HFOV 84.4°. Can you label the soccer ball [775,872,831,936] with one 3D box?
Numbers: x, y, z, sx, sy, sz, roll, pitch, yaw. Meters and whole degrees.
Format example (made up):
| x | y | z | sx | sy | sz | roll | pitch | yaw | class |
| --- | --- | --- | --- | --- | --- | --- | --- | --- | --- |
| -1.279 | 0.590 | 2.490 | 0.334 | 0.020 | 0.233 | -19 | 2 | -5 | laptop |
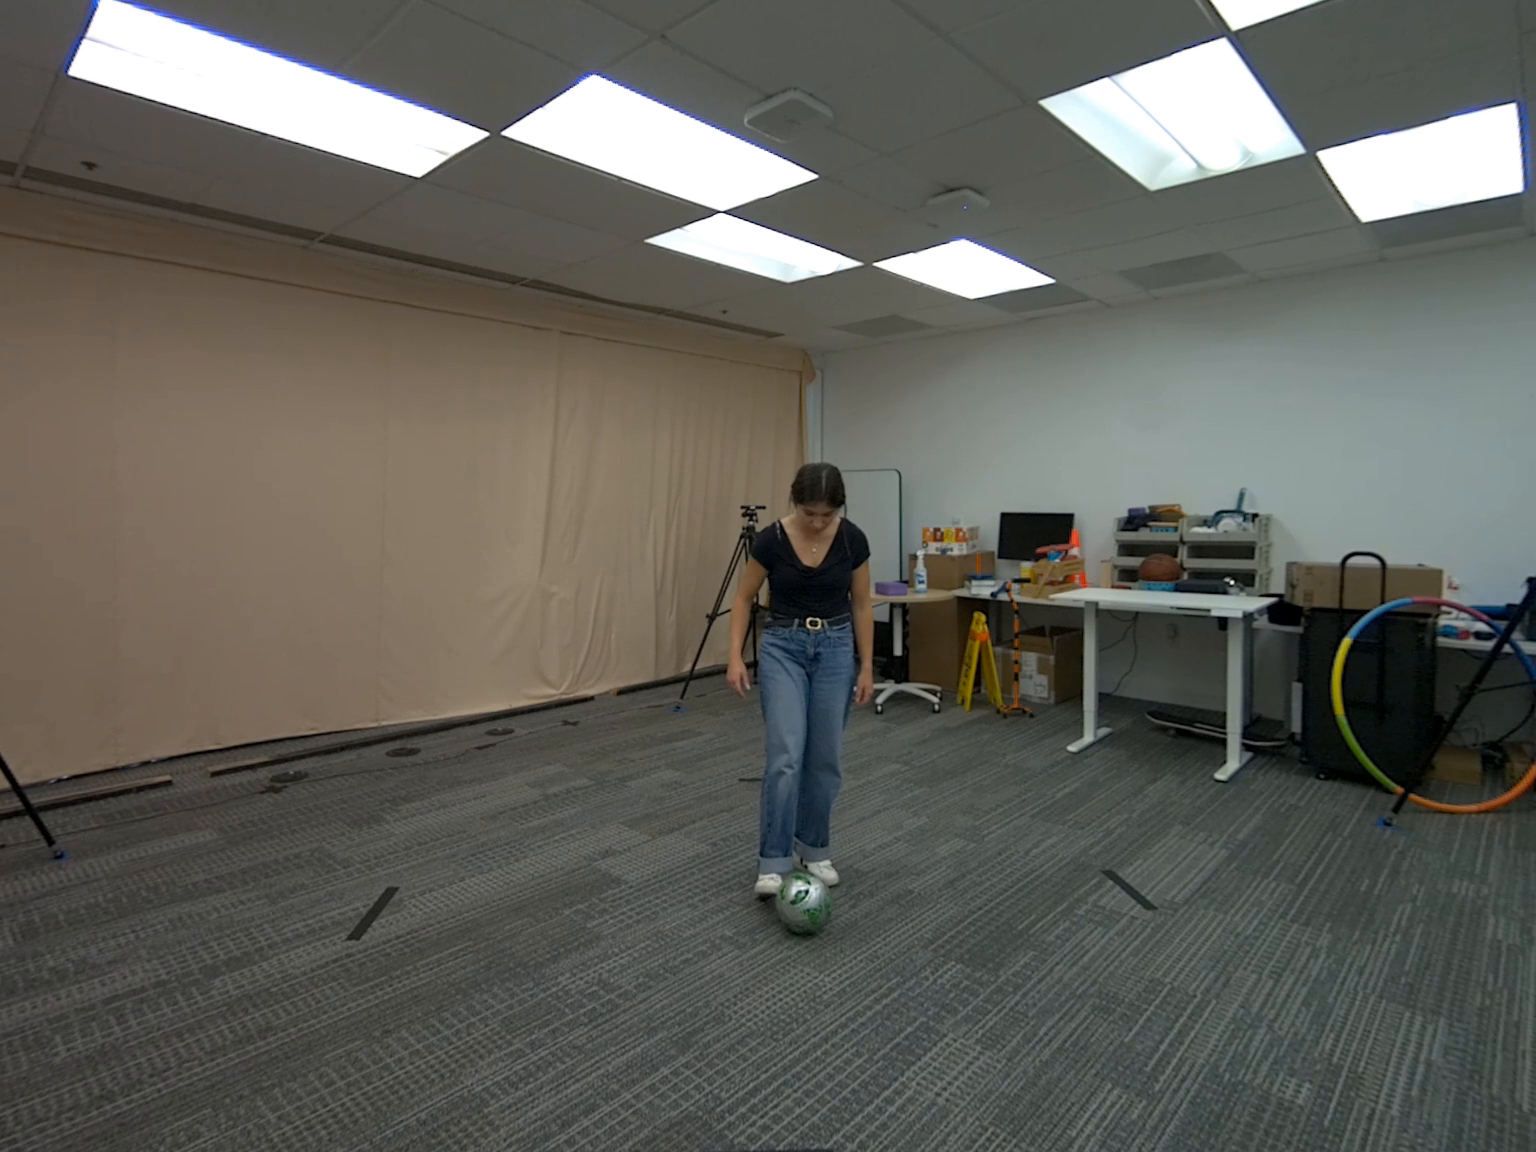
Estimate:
| x | y | z | sx | sy | sz | roll | pitch | yaw | class |
| --- | --- | --- | --- | --- | --- | --- | --- | --- | --- |
| 0.116 | 1.064 | 2.752 | 0.187 | 0.187 | 0.188 | 0 | 4 | -2 | soccer ball |
